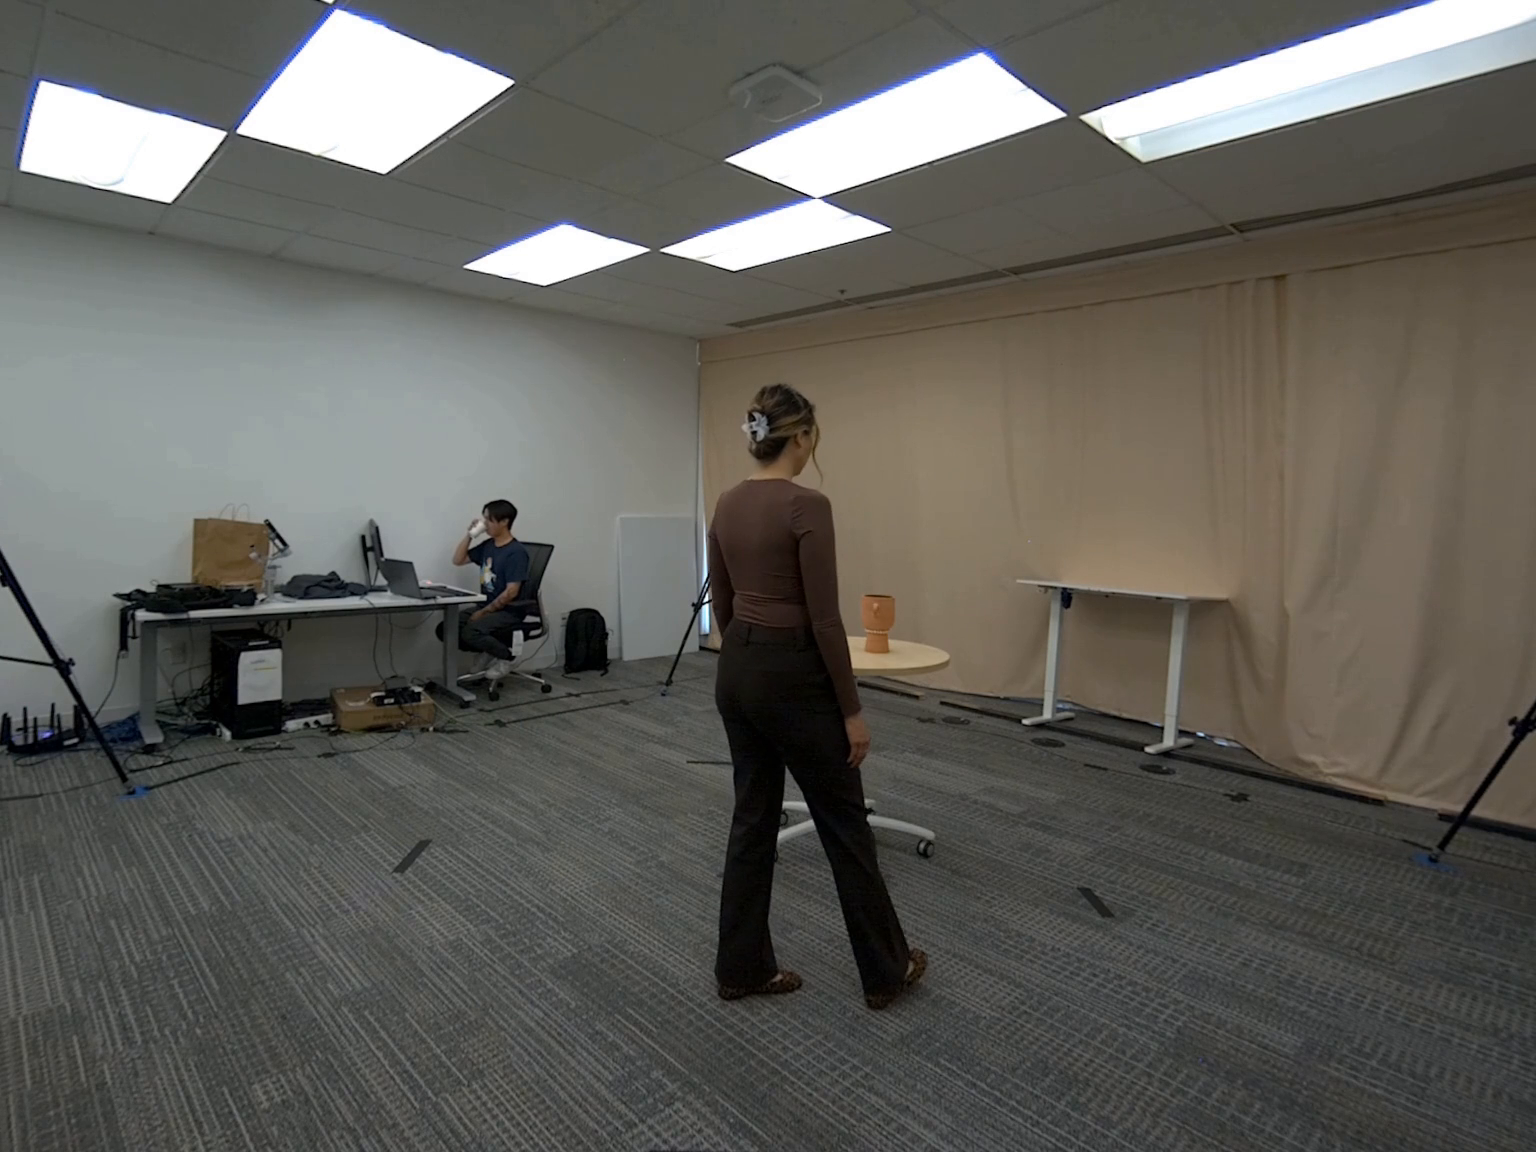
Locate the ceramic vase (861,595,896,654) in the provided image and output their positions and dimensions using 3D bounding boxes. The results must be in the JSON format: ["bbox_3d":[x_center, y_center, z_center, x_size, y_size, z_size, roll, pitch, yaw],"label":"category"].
[{"bbox_3d":[0.430,0.191,3.359,0.155,0.219,0.138,-1,5,-36],"label":"ceramic vase"}]
